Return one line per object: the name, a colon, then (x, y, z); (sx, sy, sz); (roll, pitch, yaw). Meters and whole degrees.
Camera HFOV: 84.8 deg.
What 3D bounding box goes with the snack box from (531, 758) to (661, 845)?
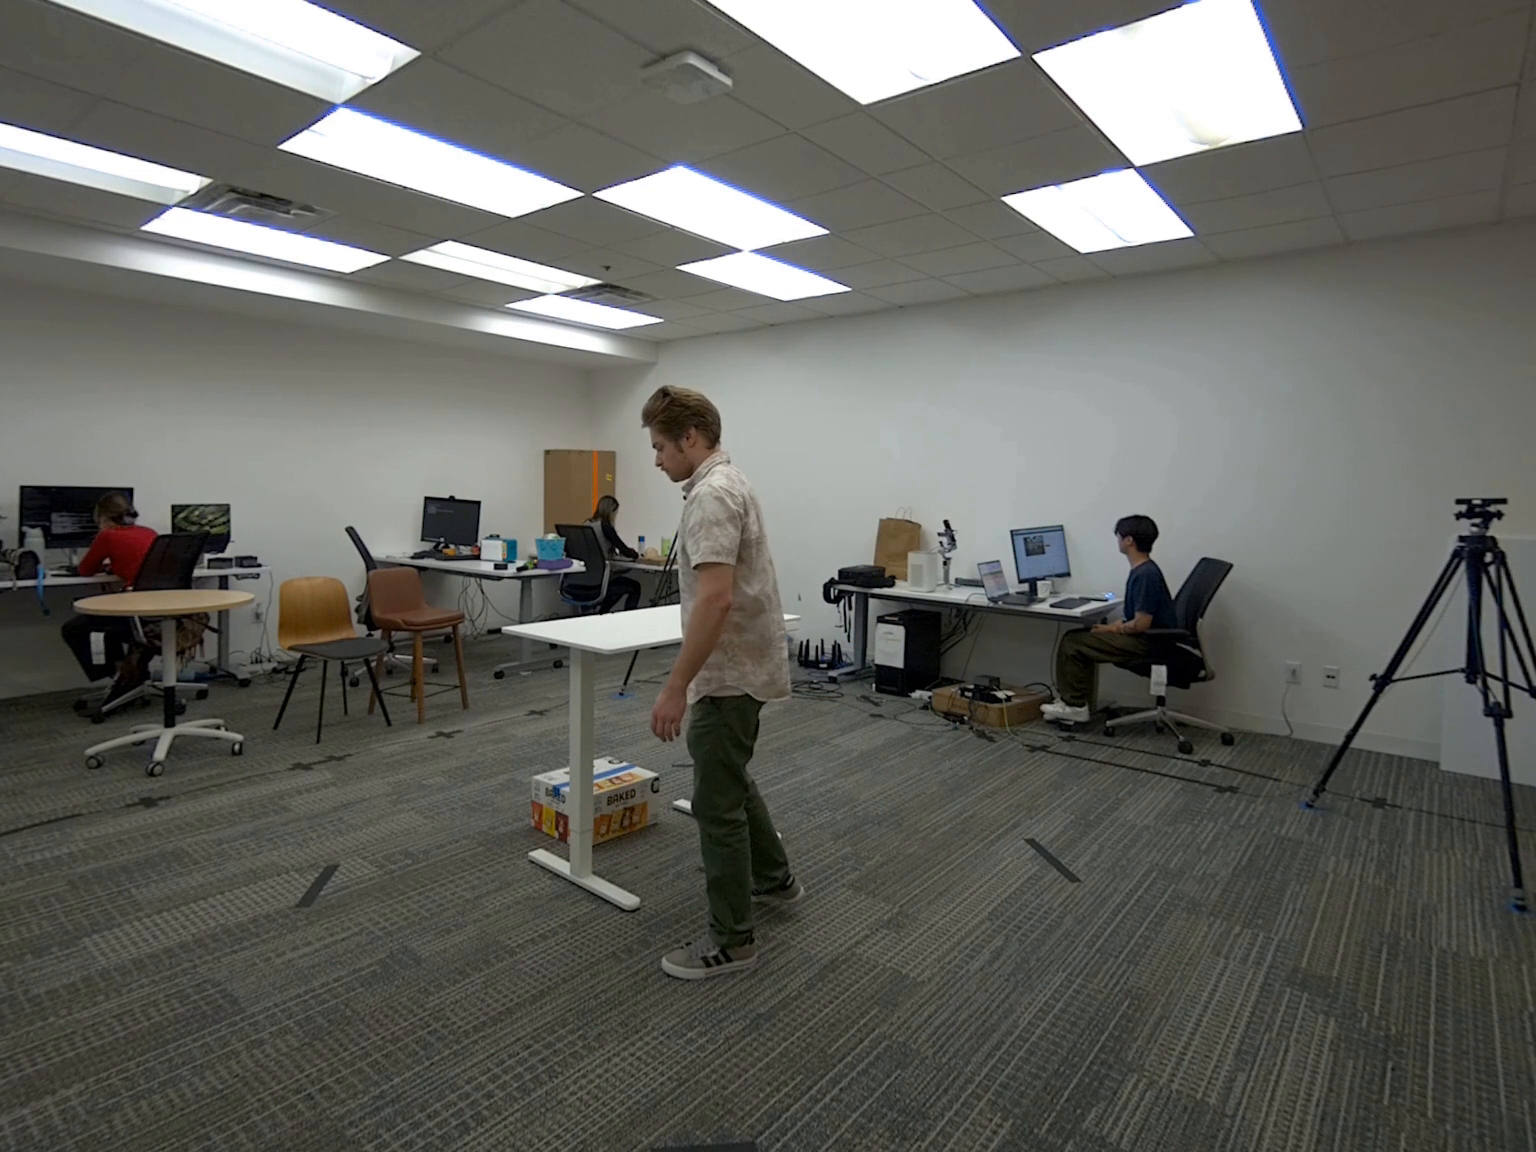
snack box: (-0.723, 0.923, 3.505); (0.352, 0.205, 0.393); (5, 7, 42)
